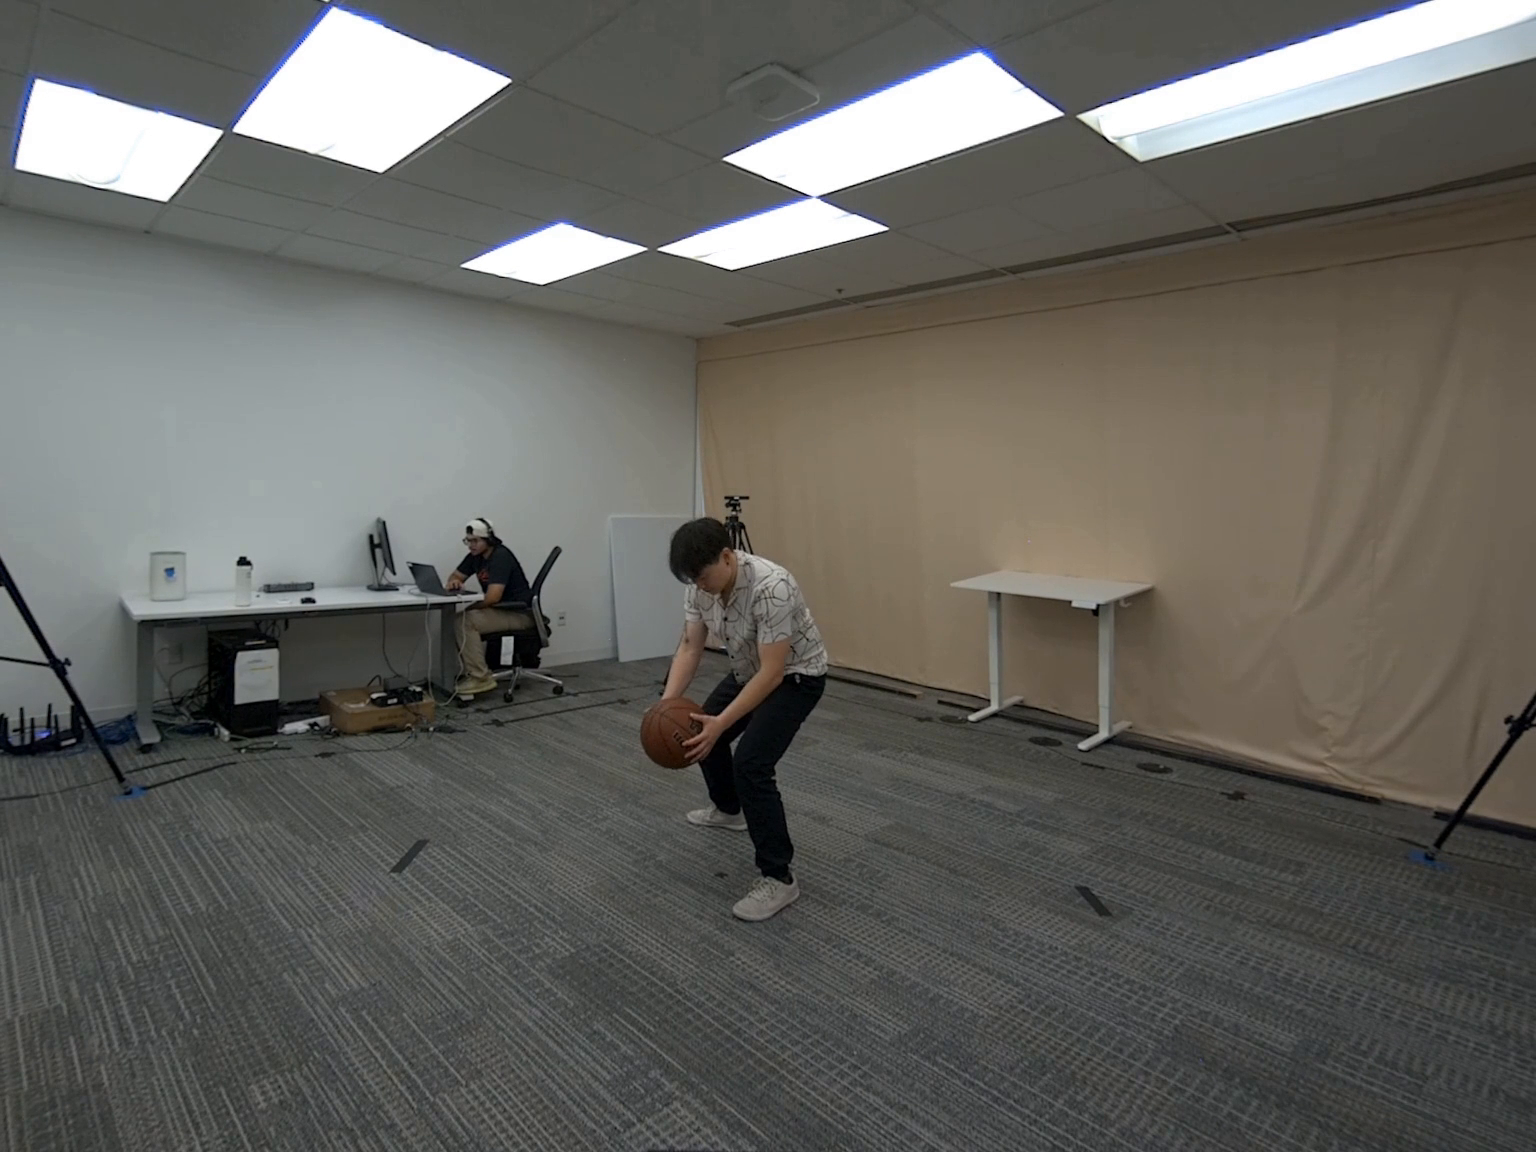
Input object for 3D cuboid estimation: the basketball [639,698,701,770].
[{"bbox_3d":[-0.321,0.526,2.845,0.236,0.235,0.237,1,4,-1],"label":"basketball"}]
